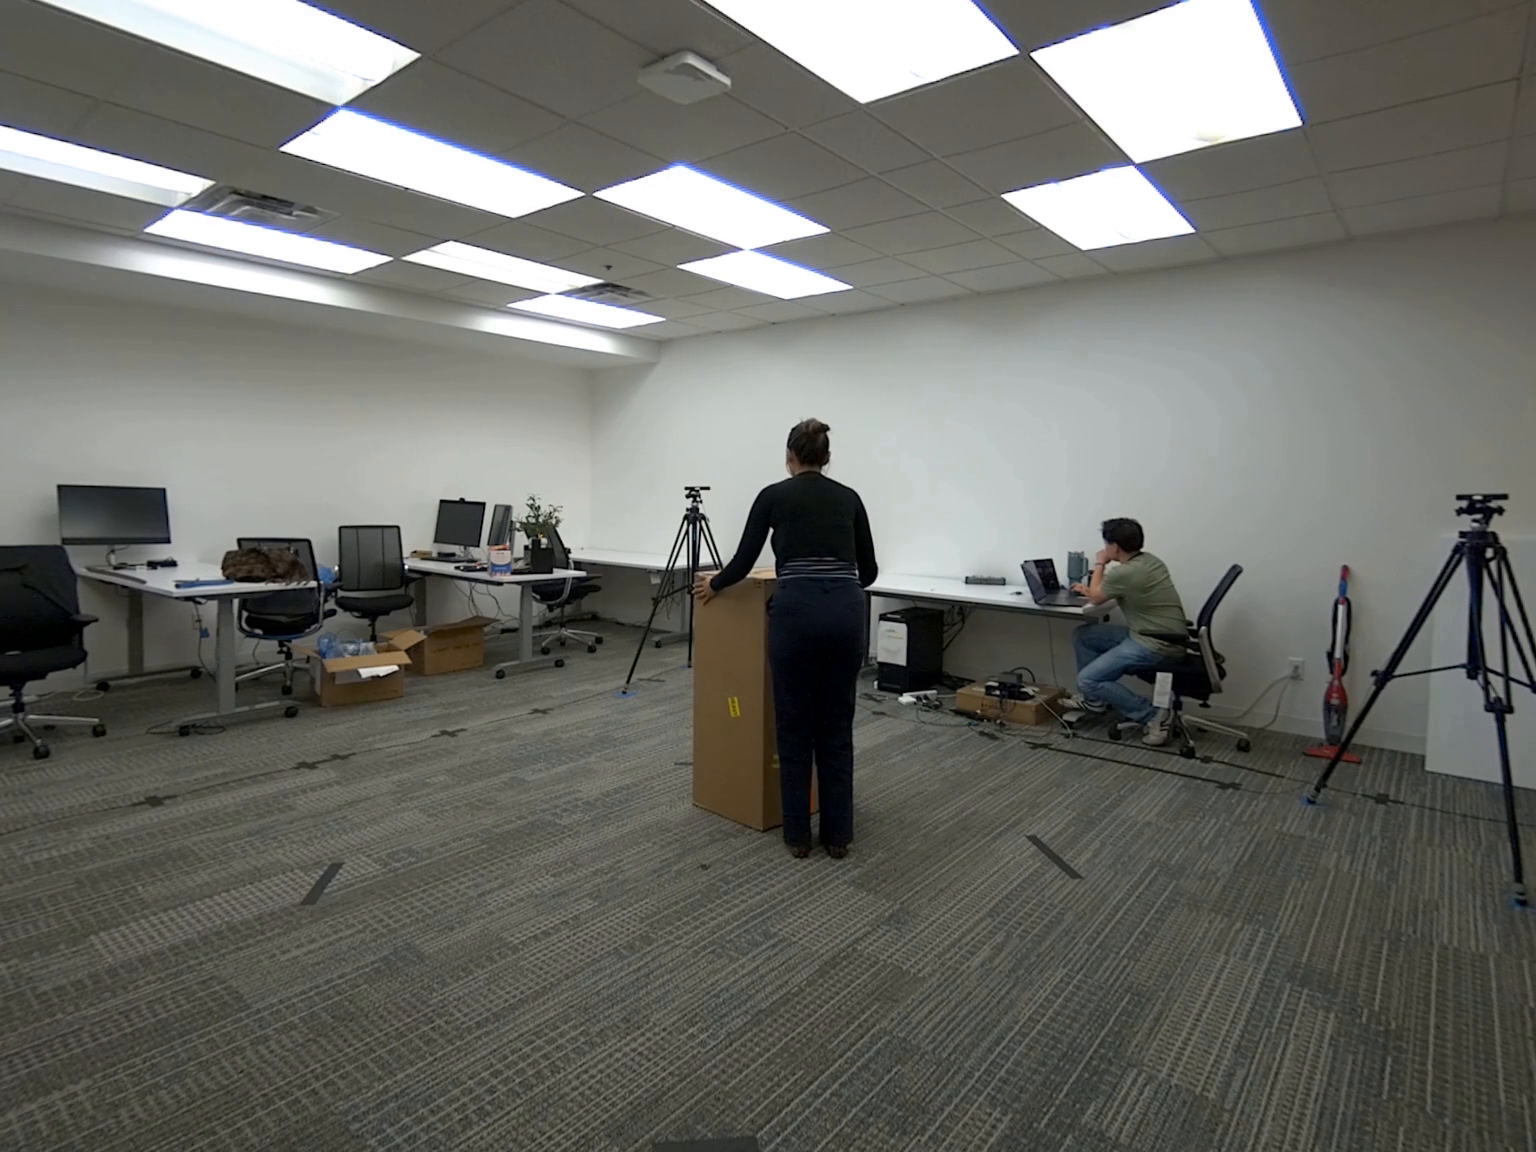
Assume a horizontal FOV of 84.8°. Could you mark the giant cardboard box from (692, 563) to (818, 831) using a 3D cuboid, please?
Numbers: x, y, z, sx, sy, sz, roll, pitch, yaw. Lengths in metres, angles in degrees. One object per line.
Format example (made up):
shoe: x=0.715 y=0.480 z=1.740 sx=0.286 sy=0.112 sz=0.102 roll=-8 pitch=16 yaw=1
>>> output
giant cardboard box: x=0.009 y=0.494 z=3.762 sx=0.440 sy=1.023 sz=0.560 roll=2 pitch=4 yaw=44
